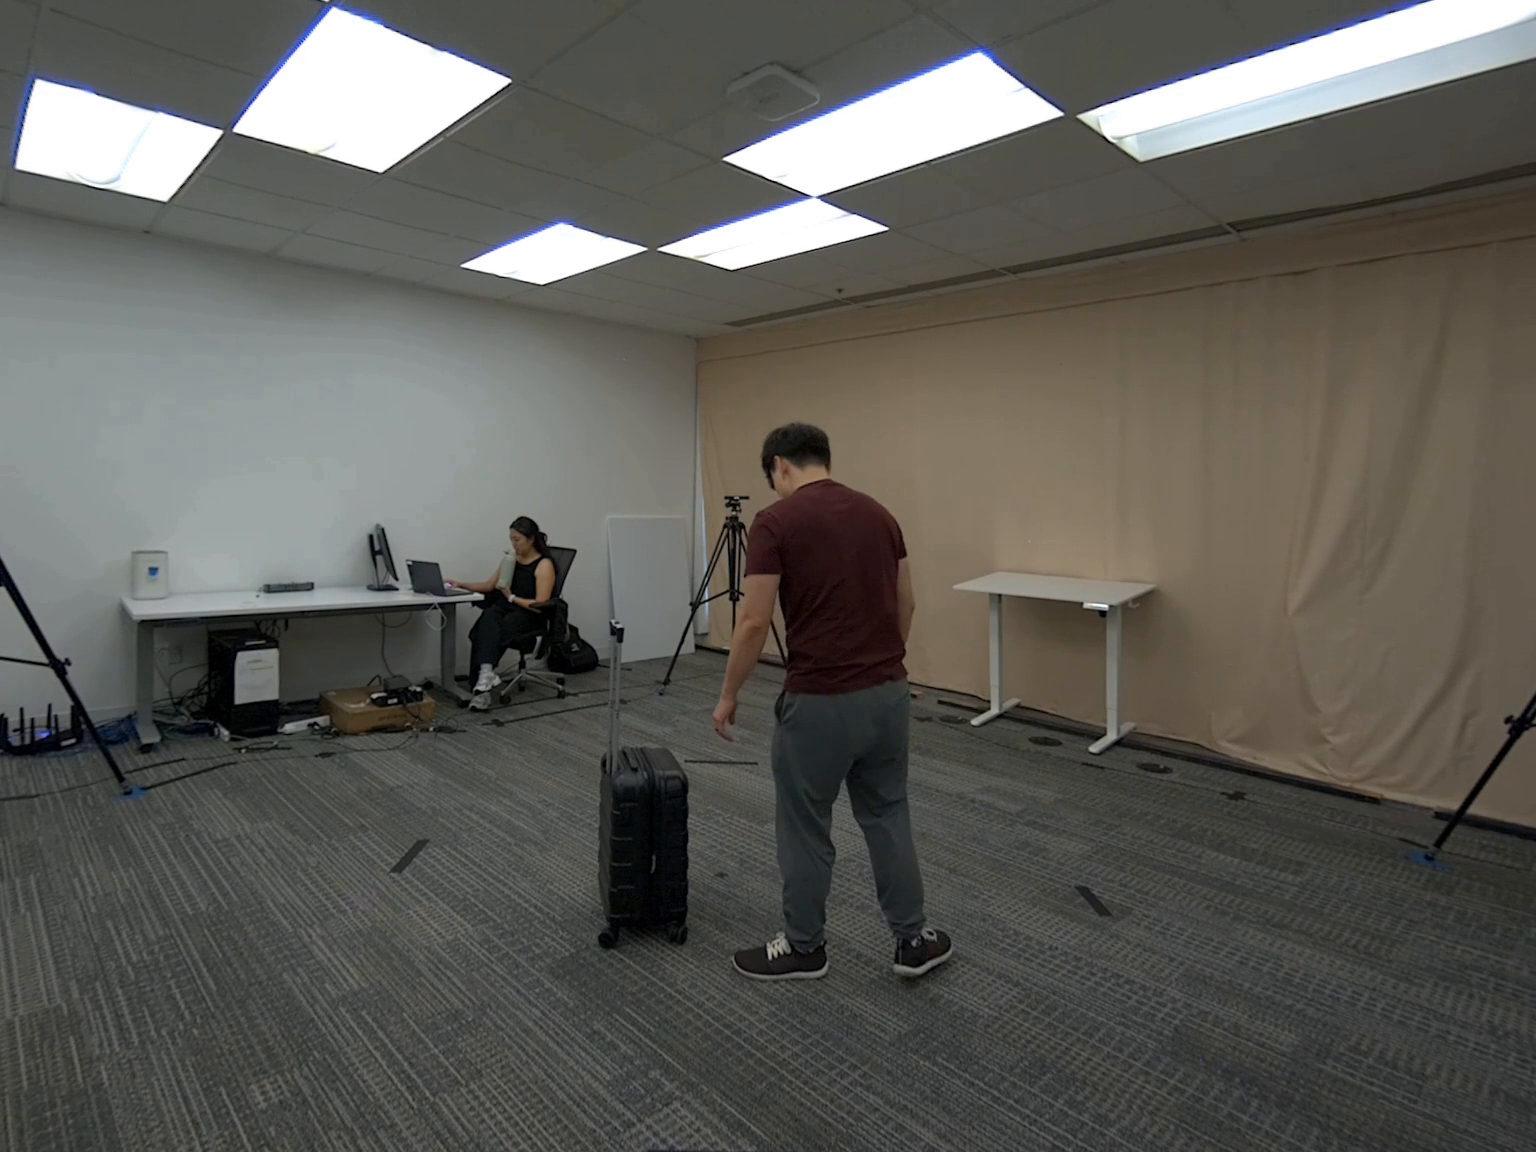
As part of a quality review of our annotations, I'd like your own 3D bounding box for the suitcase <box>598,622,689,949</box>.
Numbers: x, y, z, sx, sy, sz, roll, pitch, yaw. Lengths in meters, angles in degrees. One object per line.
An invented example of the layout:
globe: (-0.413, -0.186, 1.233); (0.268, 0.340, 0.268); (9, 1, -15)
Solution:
suitcase: (-0.415, 0.660, 2.739); (0.254, 0.976, 0.389); (1, 3, -13)
